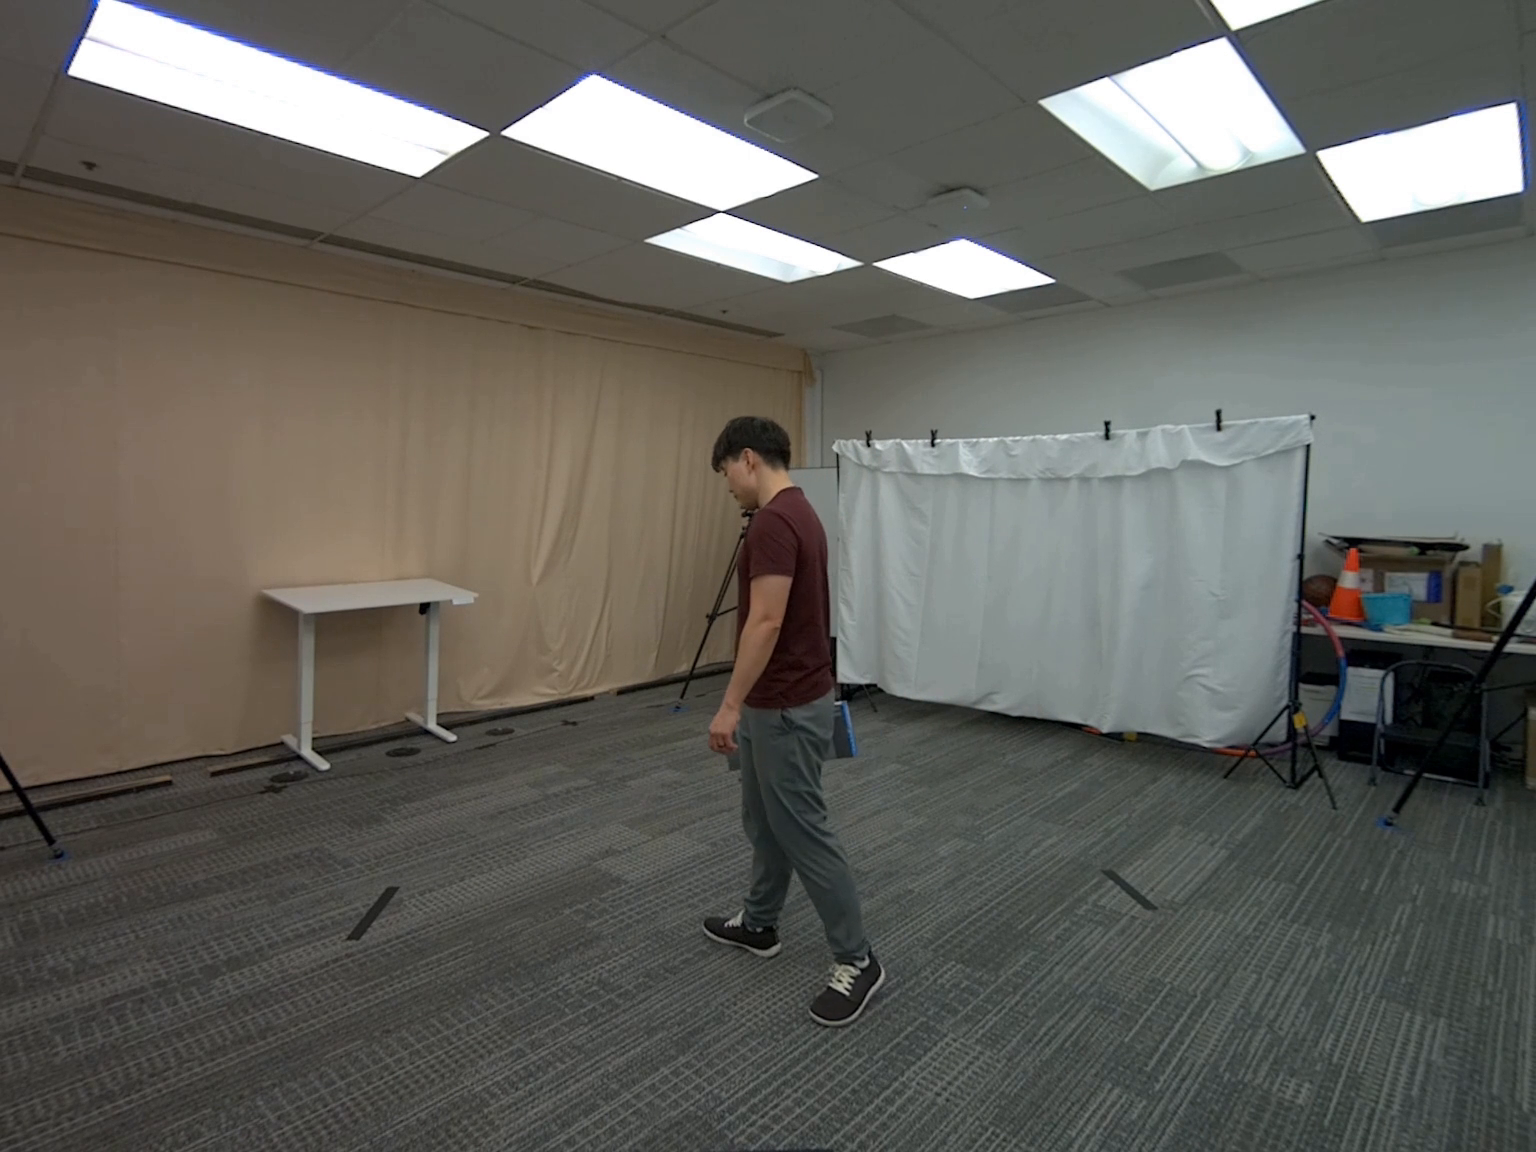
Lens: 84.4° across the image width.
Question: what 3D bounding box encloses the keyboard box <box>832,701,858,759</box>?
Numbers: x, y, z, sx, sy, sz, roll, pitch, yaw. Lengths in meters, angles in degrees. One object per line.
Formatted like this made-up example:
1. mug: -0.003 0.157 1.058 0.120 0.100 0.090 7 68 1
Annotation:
1. keyboard box: 0.062 0.528 2.775 0.445 0.176 0.058 -11 -2 22
